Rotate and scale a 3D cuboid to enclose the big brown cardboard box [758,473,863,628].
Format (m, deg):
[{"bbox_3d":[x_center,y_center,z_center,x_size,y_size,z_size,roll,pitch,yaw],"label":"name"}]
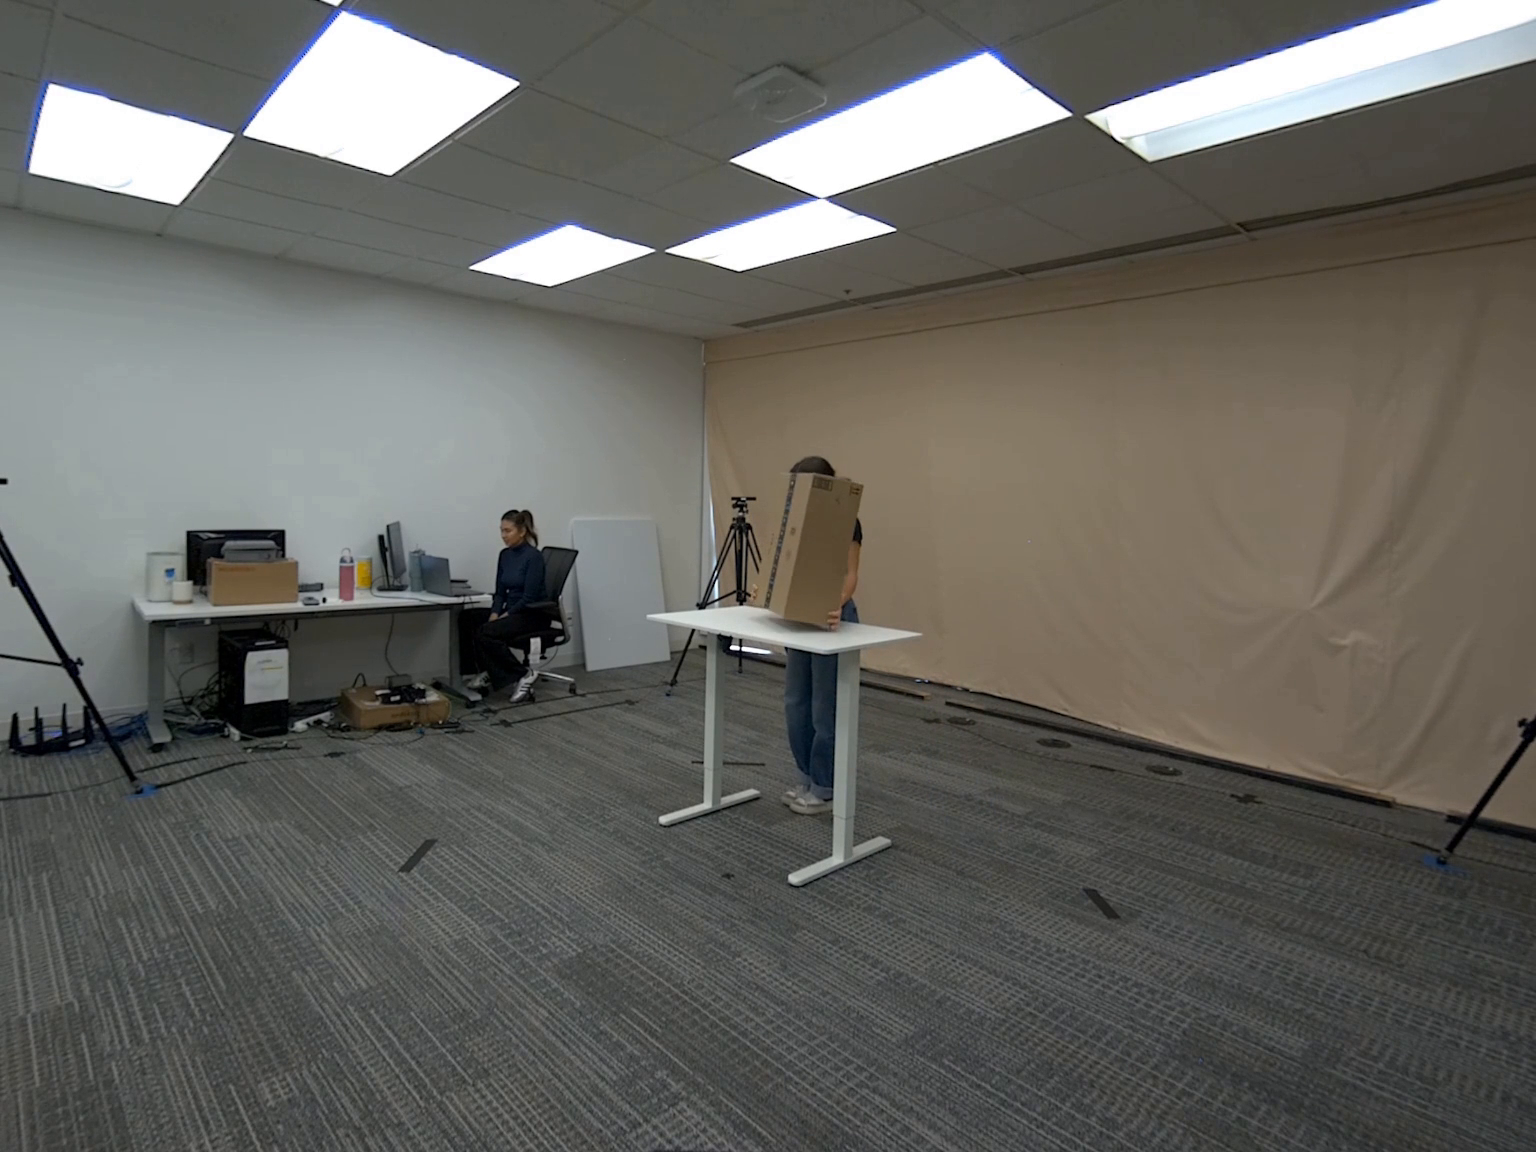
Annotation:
[{"bbox_3d":[0.147,-0.116,3.419,0.230,0.588,0.424,10,4,-16],"label":"big brown cardboard box"}]
